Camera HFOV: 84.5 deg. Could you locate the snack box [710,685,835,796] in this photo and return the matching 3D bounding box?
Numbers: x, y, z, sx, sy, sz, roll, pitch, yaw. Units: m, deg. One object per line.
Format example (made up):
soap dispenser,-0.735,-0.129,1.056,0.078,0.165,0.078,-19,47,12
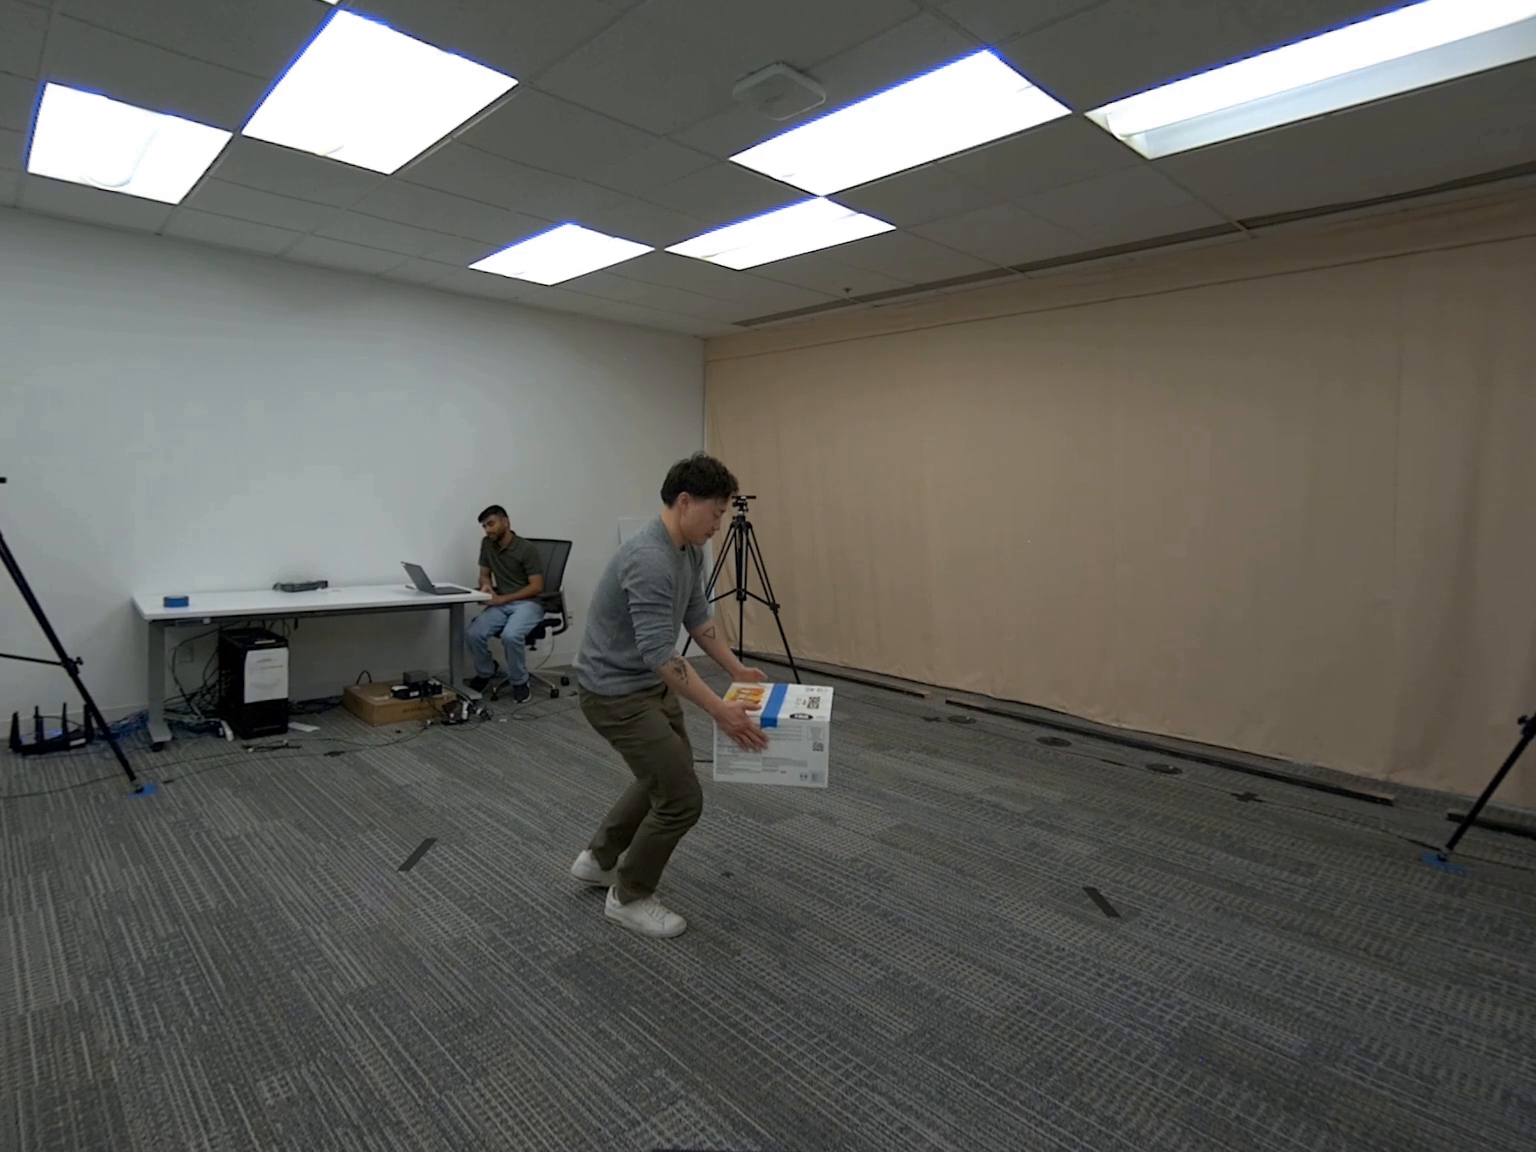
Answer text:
snack box,0.025,0.497,2.635,0.343,0.205,0.404,2,6,8
